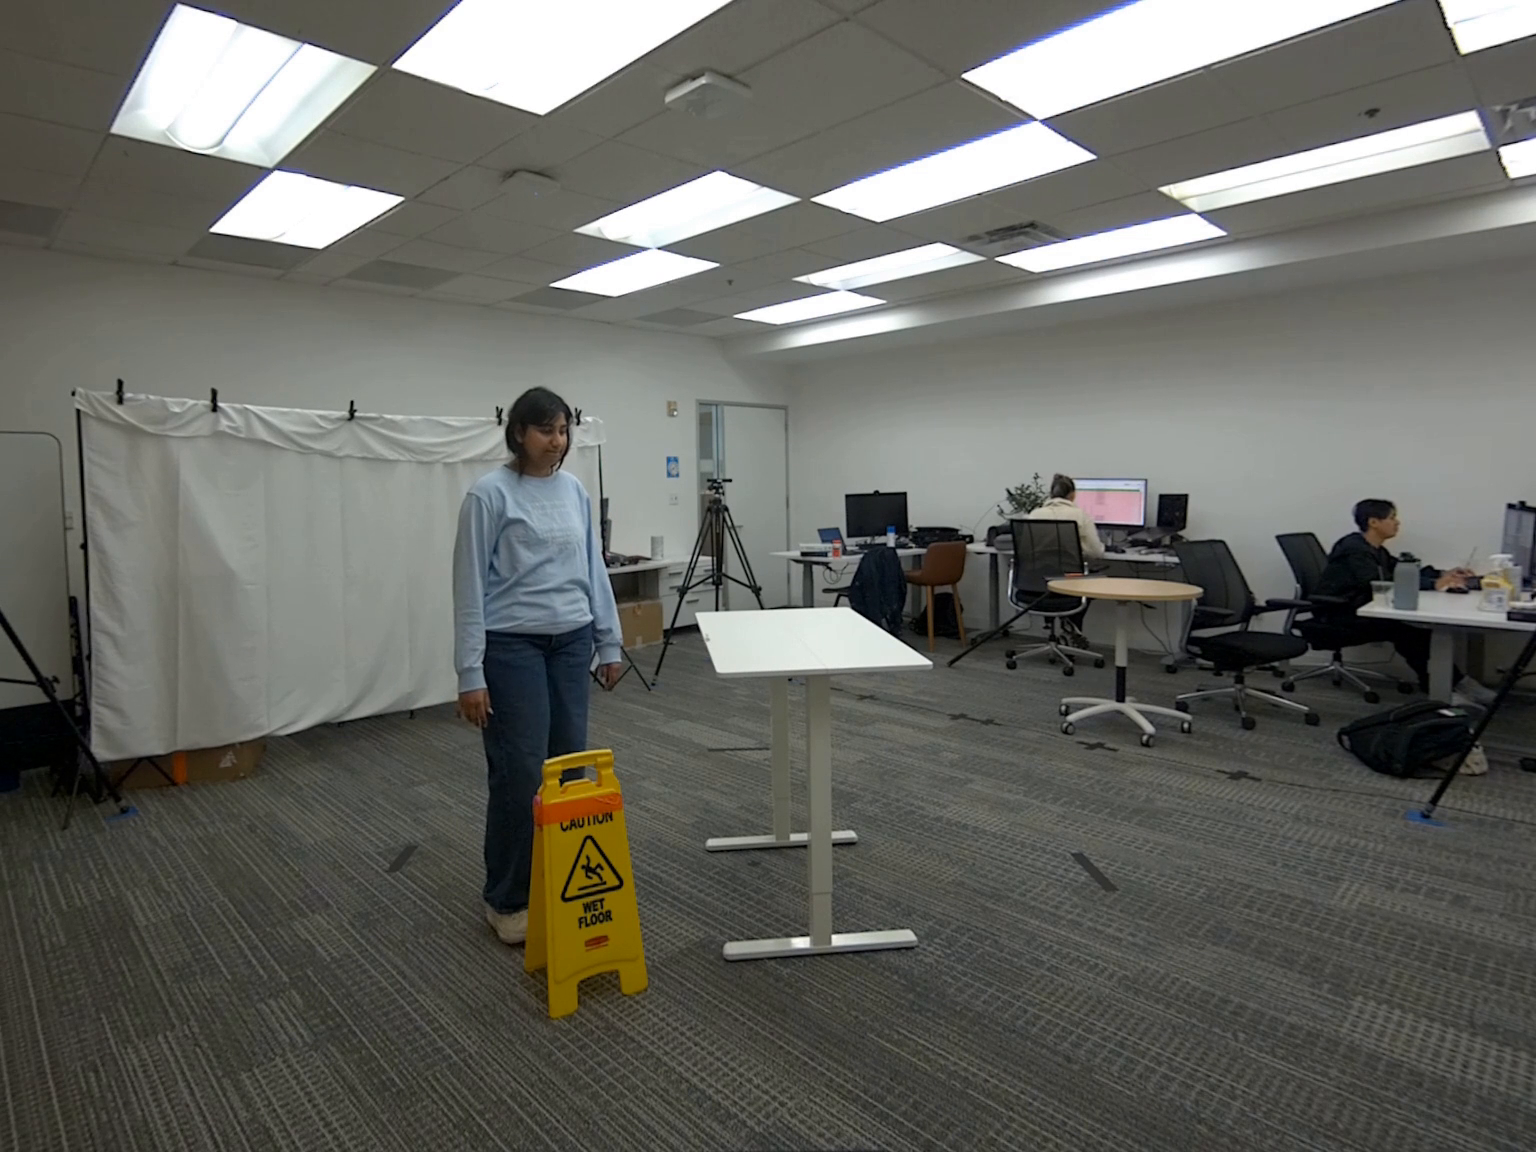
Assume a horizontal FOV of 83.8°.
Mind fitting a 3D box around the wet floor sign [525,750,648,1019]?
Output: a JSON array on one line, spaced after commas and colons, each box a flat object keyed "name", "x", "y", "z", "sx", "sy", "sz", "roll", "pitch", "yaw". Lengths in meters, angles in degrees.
[{"name": "wet floor sign", "x": -0.517, "y": 0.816, "z": 2.385, "sx": 0.276, "sy": 0.643, "sz": 0.298, "roll": -4, "pitch": 6, "yaw": -28}]
